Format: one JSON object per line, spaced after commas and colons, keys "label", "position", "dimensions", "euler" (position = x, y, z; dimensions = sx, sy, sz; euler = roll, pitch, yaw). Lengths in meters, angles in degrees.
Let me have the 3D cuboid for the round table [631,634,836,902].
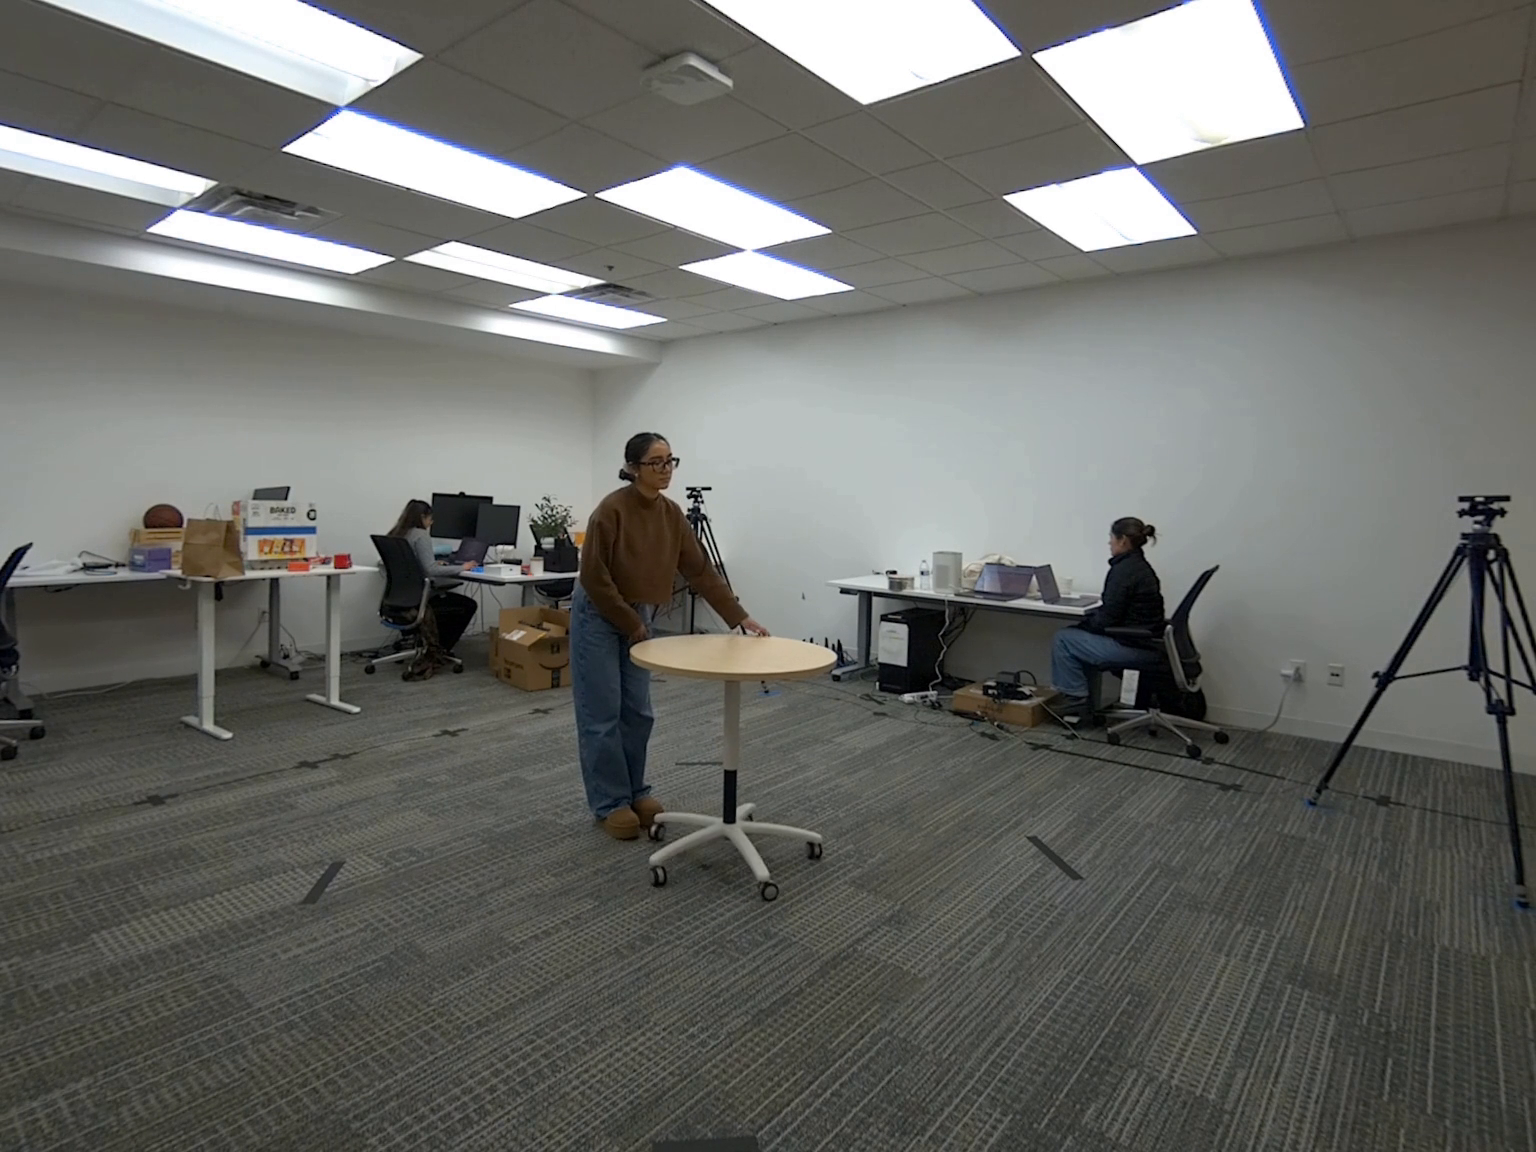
{"label": "round table", "position": [-0.149, 0.672, 3.169], "dimensions": [0.763, 0.792, 0.768], "euler": [1, 4, -2]}
